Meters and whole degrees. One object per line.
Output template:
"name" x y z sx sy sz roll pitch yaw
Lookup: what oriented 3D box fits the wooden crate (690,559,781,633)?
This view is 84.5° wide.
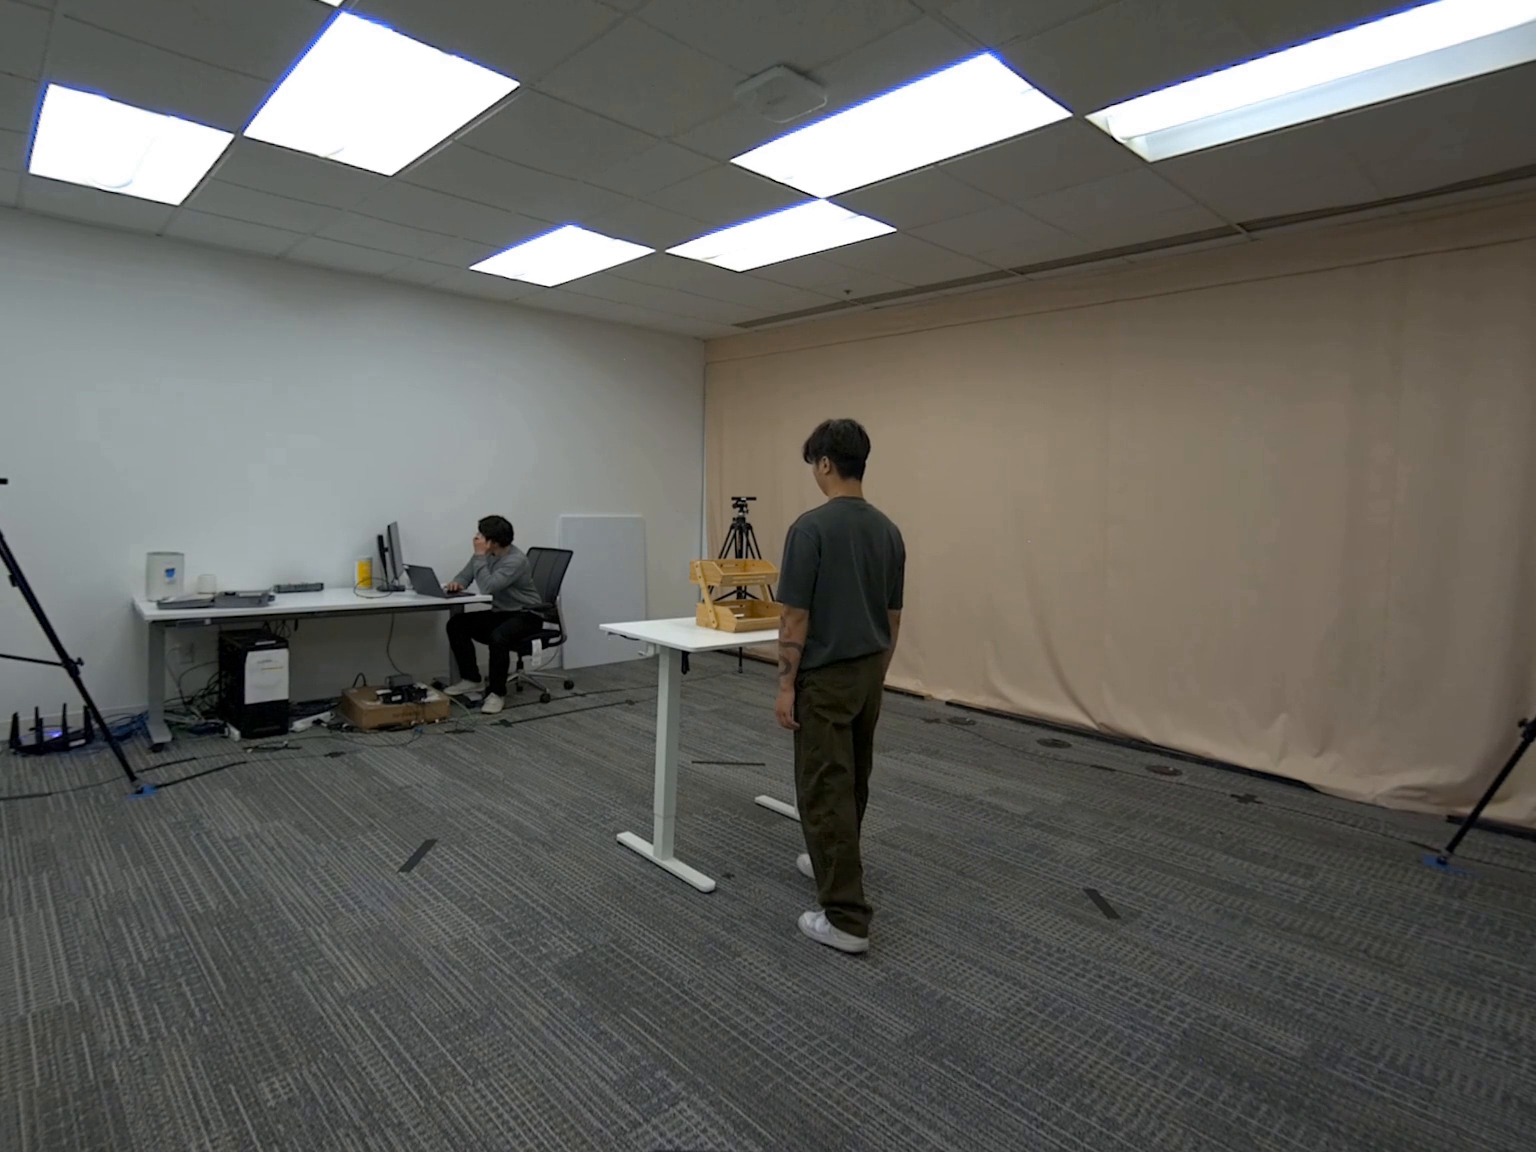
"wooden crate" -0.115 0.068 3.376 0.317 0.273 0.309 -1 4 -42
